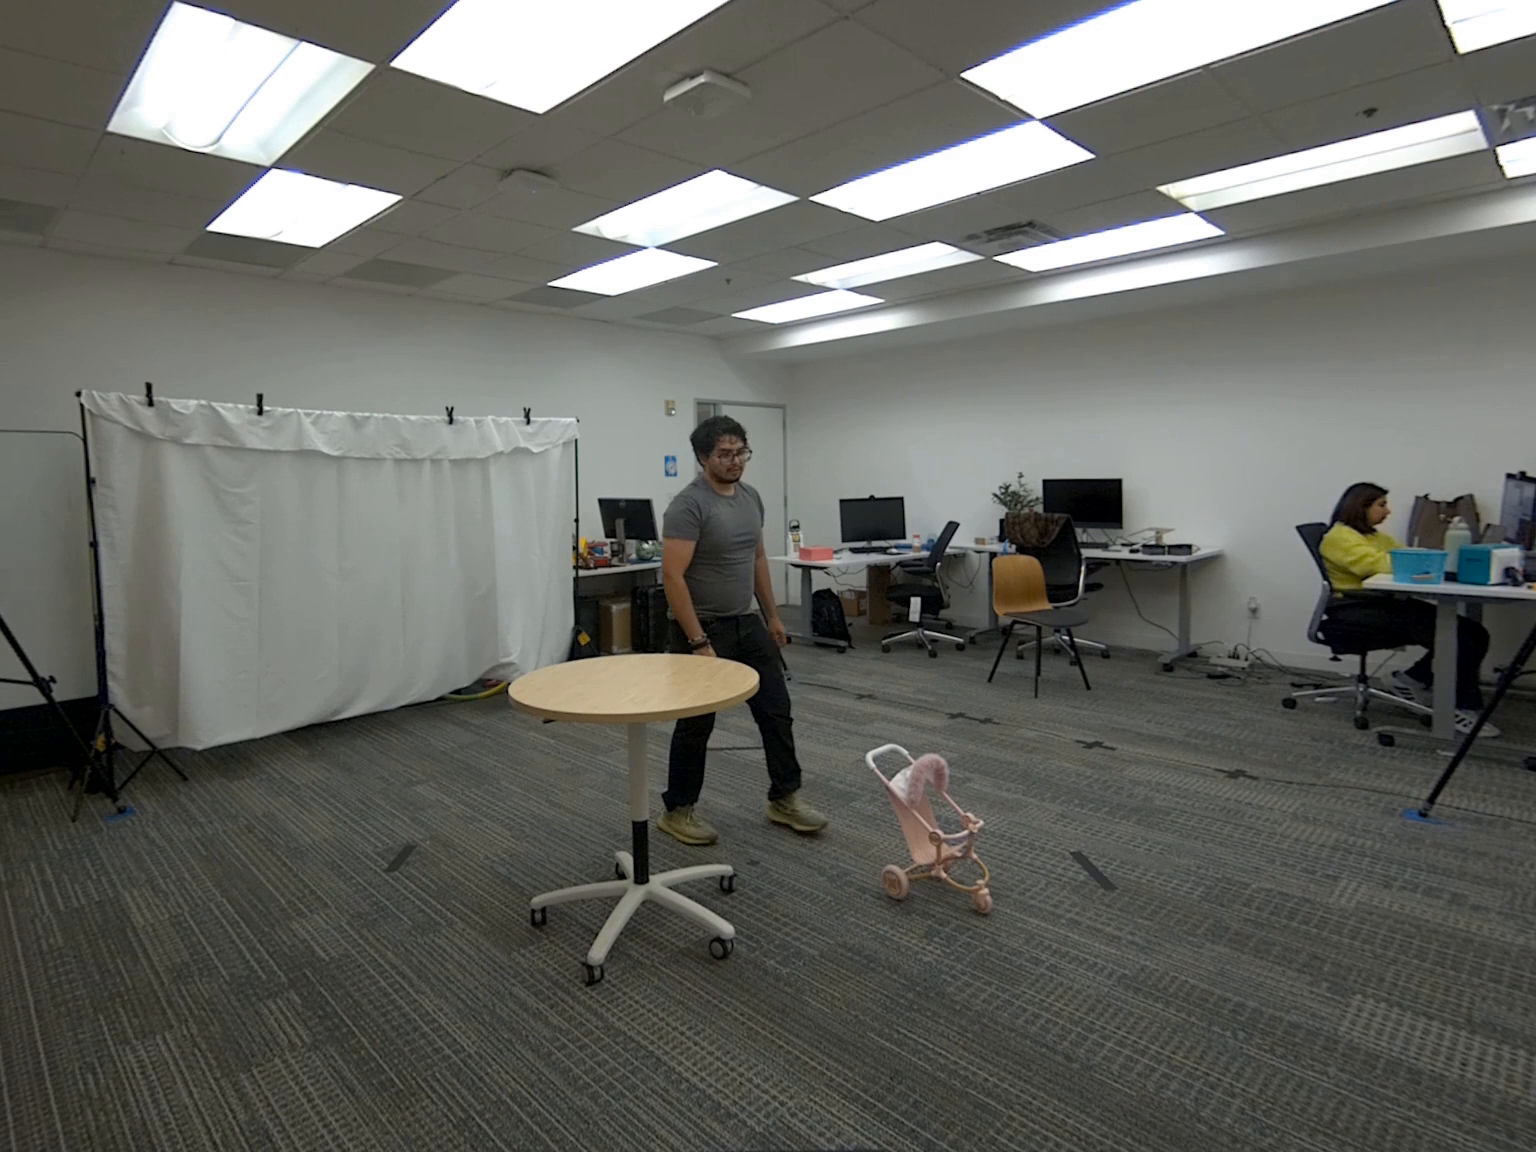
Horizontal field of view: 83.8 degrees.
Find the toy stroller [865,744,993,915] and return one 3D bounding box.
[{"bbox_3d":[0.551,0.833,2.846,0.274,0.540,0.347,-5,-9,-39],"label":"toy stroller"}]
